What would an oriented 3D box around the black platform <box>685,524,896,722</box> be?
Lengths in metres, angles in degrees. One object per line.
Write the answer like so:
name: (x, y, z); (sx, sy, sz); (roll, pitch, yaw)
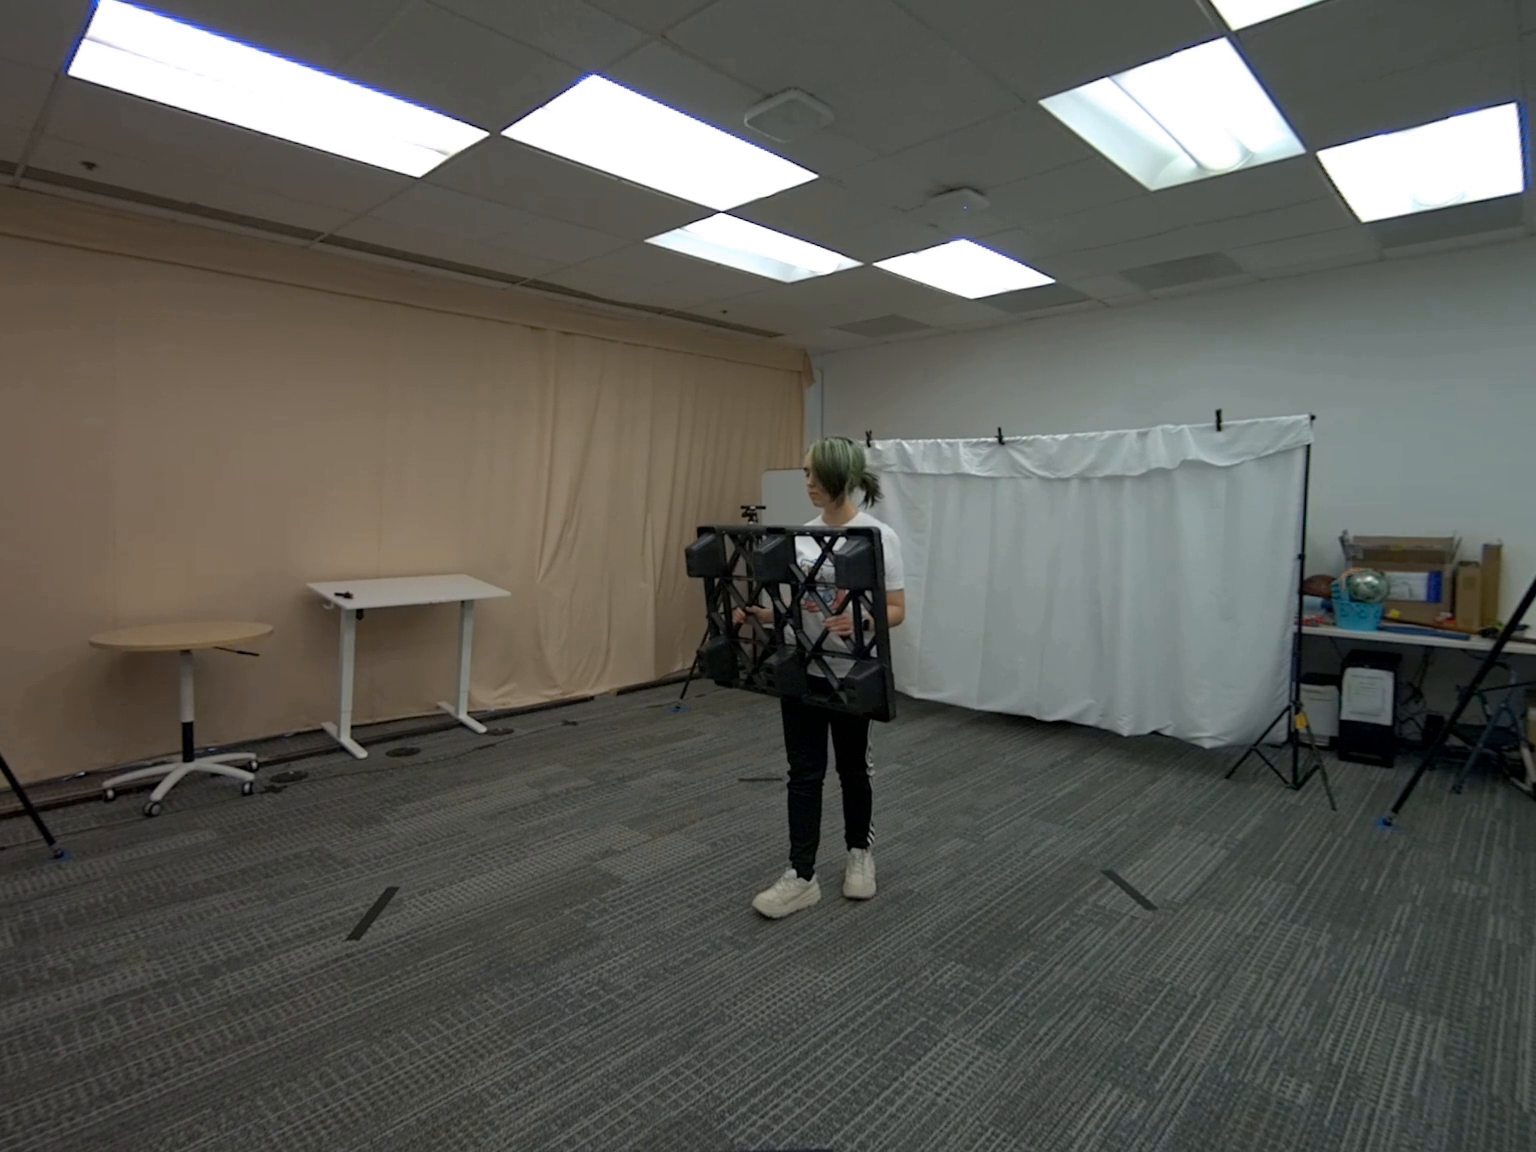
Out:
black platform: (0.038, 0.140, 2.788); (0.139, 0.602, 0.832); (-12, 11, -42)
